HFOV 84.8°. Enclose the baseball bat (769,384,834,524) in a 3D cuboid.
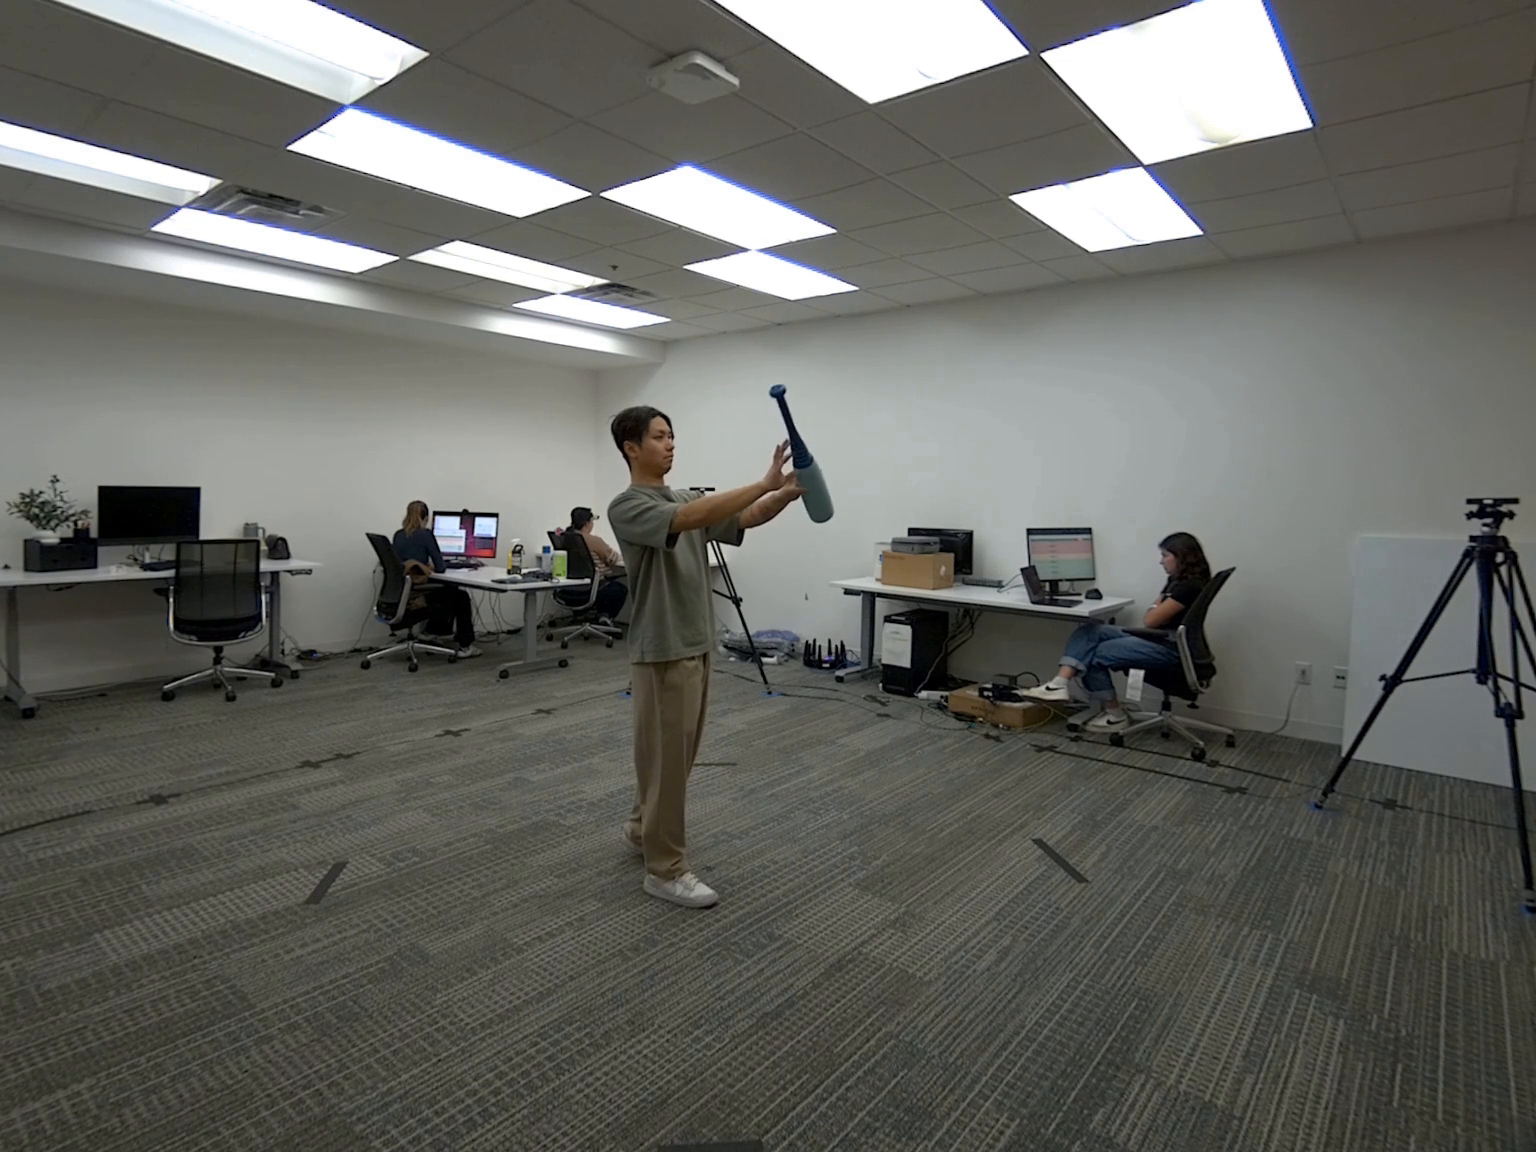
[{"bbox_3d":[0.091,-0.364,2.614,0.091,0.090,0.522,3,-39,25],"label":"baseball bat"}]
